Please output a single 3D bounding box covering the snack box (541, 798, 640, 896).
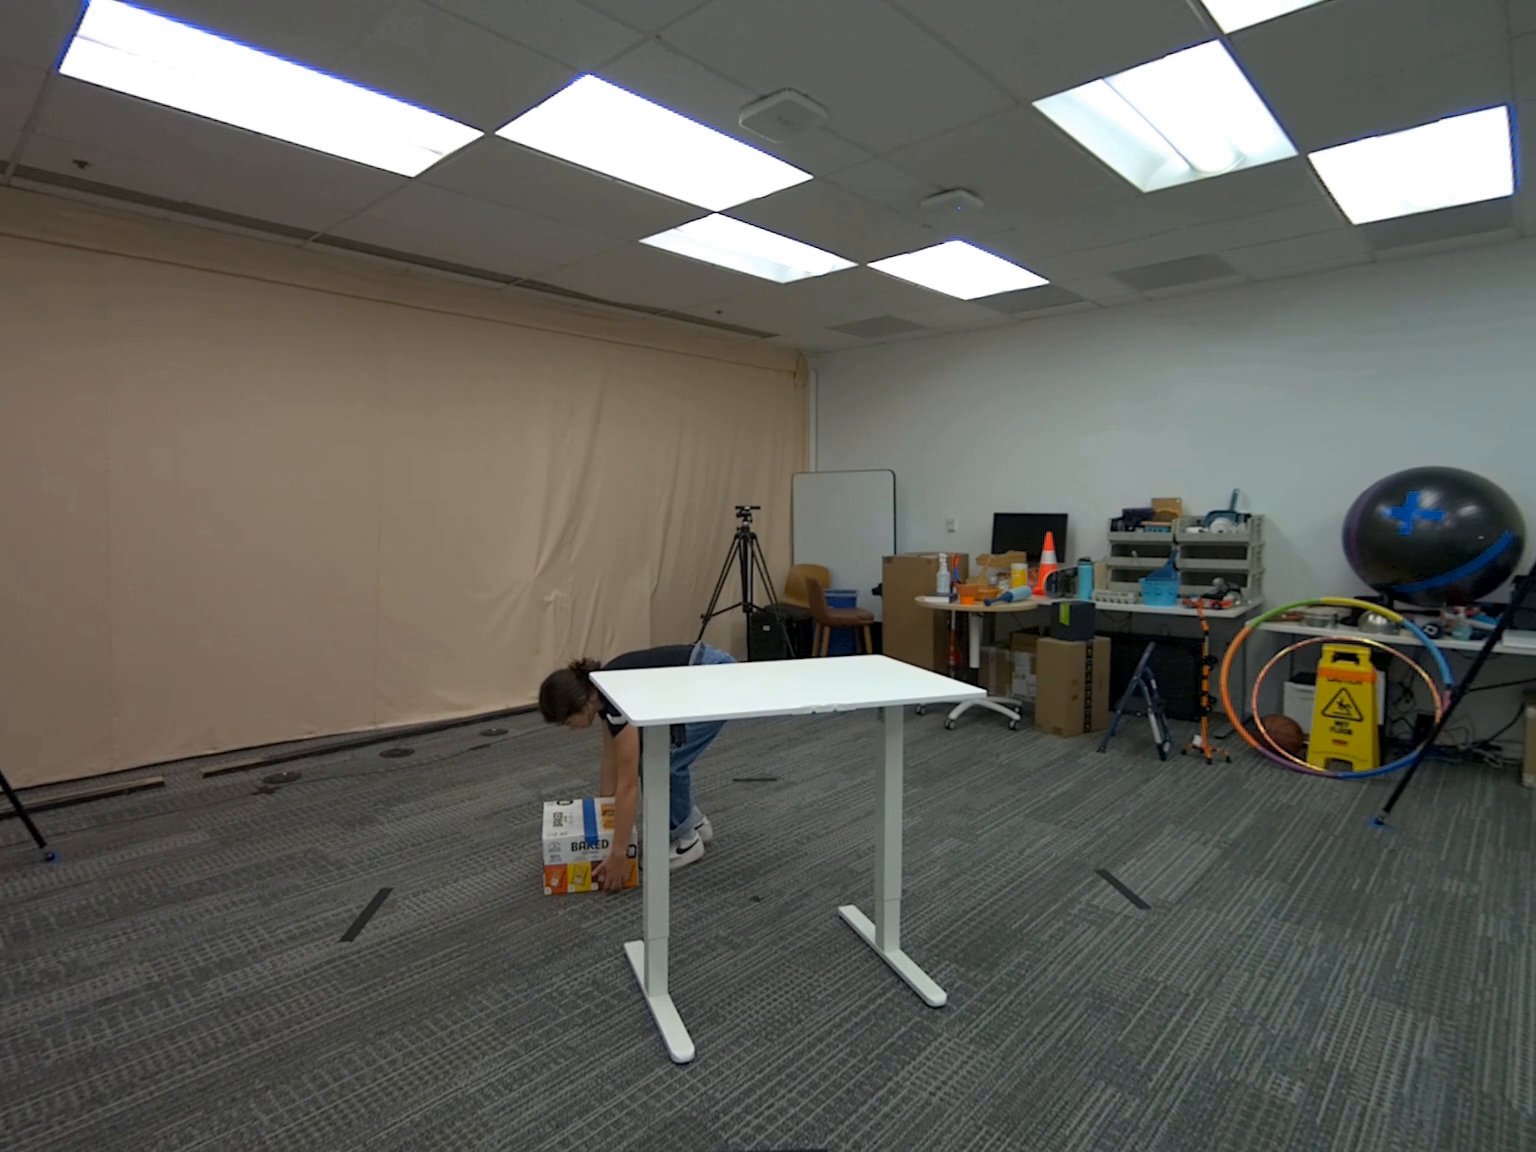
[{"bbox_3d":[-0.696,1.029,3.245,0.336,0.205,0.411,-2,4,-12],"label":"snack box"}]
